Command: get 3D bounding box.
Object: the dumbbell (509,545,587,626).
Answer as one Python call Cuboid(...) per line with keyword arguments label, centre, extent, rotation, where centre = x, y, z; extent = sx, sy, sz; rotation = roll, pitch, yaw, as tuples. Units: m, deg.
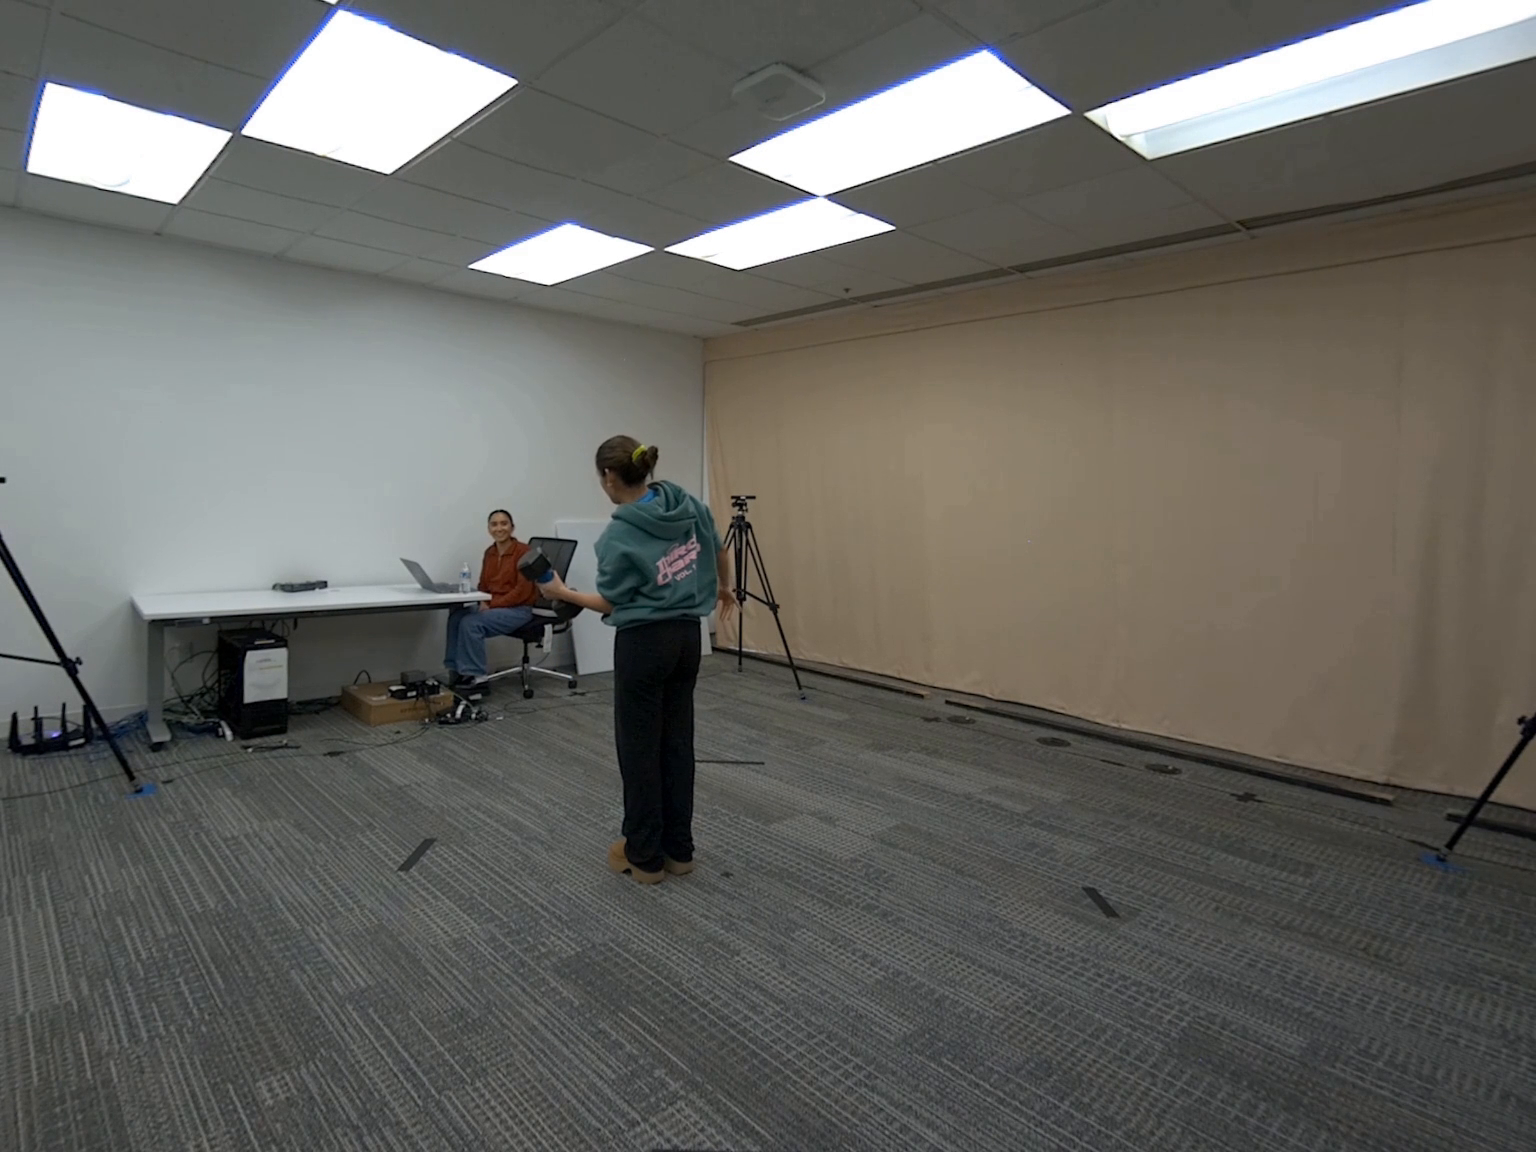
Cuboid(label="dumbbell", centre=(-0.811, 0.035, 3.166), extent=(0.111, 0.286, 0.123), rotation=(1, 44, 50))
